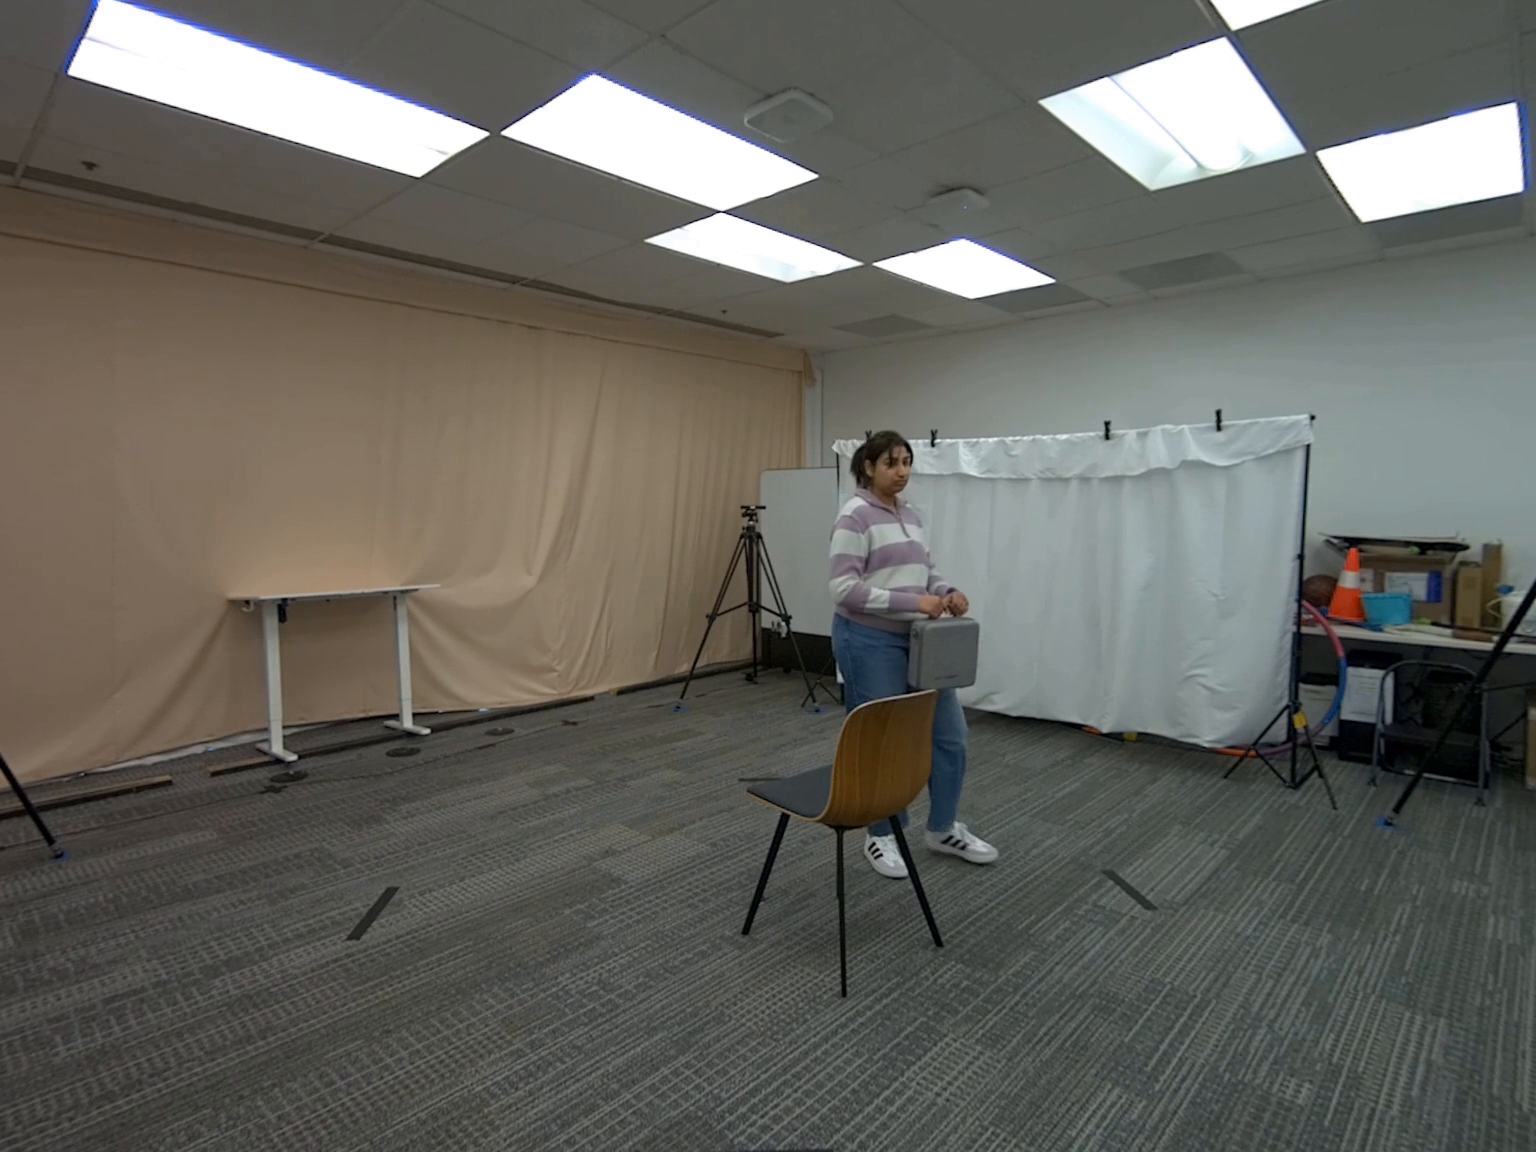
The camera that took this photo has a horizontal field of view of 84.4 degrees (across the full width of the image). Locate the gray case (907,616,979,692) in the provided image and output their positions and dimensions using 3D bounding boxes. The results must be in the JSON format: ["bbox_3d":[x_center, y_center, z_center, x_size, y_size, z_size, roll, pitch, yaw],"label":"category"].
[{"bbox_3d":[0.631,0.275,3.051,0.250,0.259,0.107,-1,9,-27],"label":"gray case"}]
